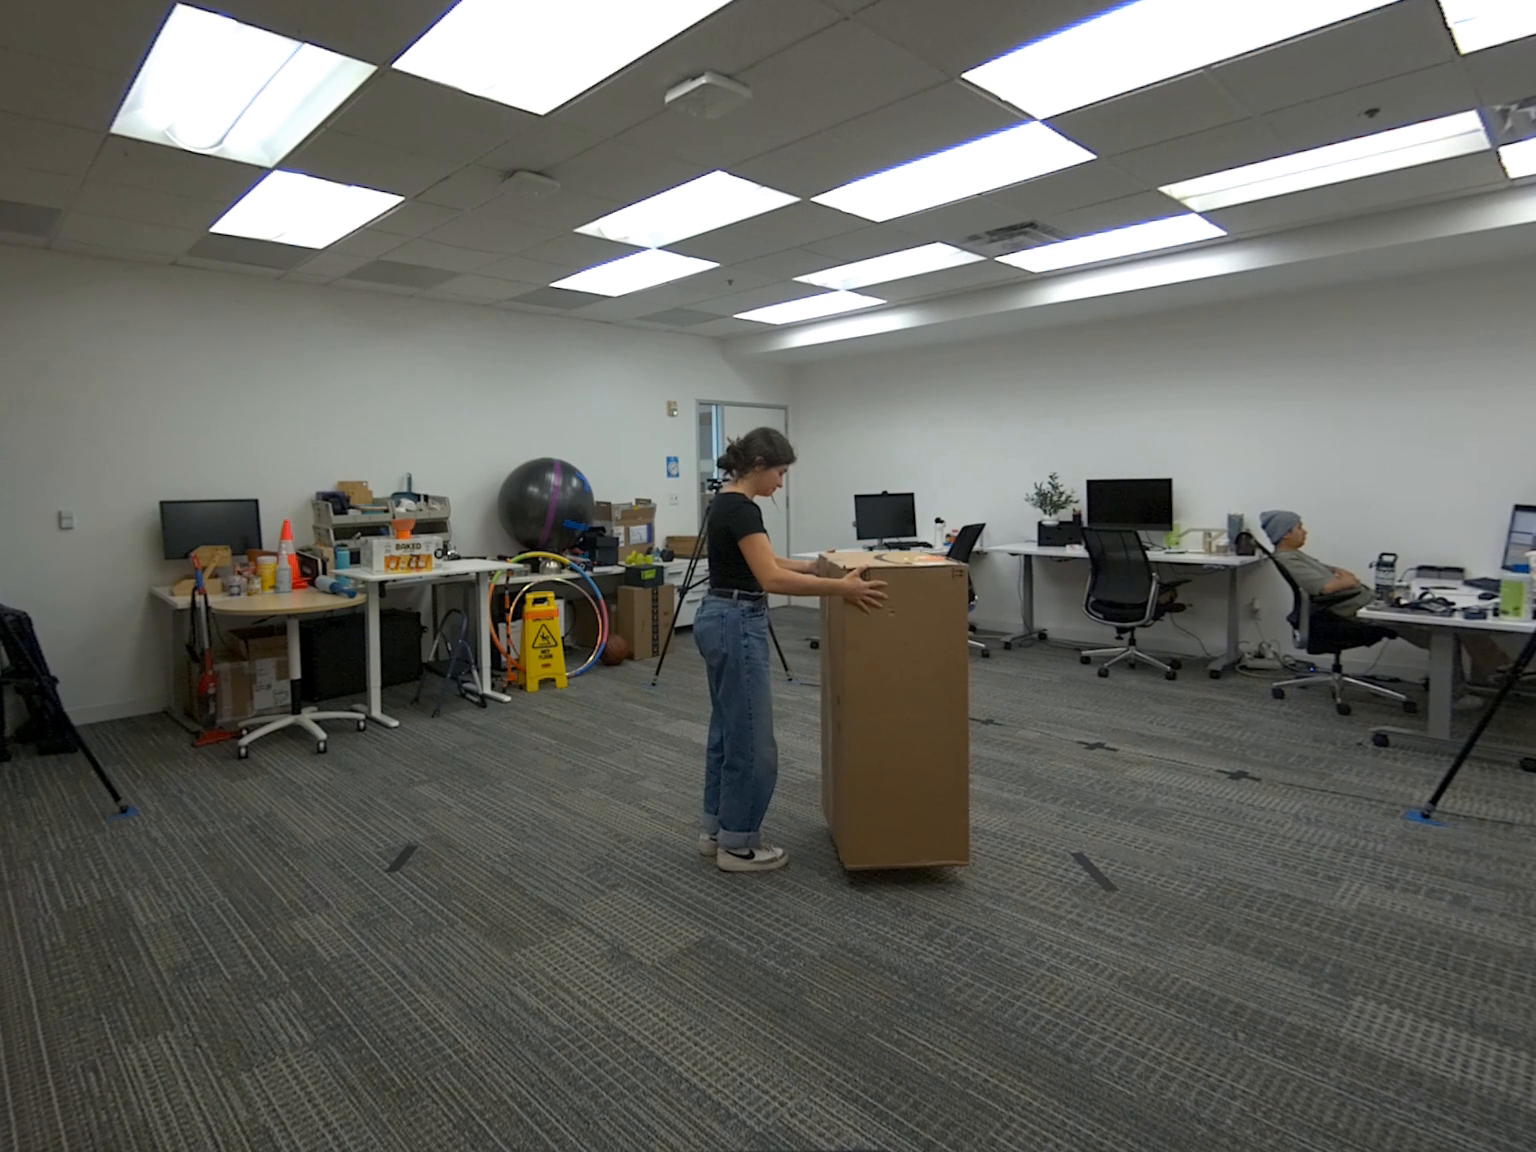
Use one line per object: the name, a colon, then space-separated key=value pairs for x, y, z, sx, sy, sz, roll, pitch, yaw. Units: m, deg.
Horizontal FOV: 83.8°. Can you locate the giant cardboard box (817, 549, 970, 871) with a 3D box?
giant cardboard box: x=0.447 y=0.452 z=3.127 sx=0.425 sy=1.023 sz=0.580 roll=-1 pitch=3 yaw=-3
